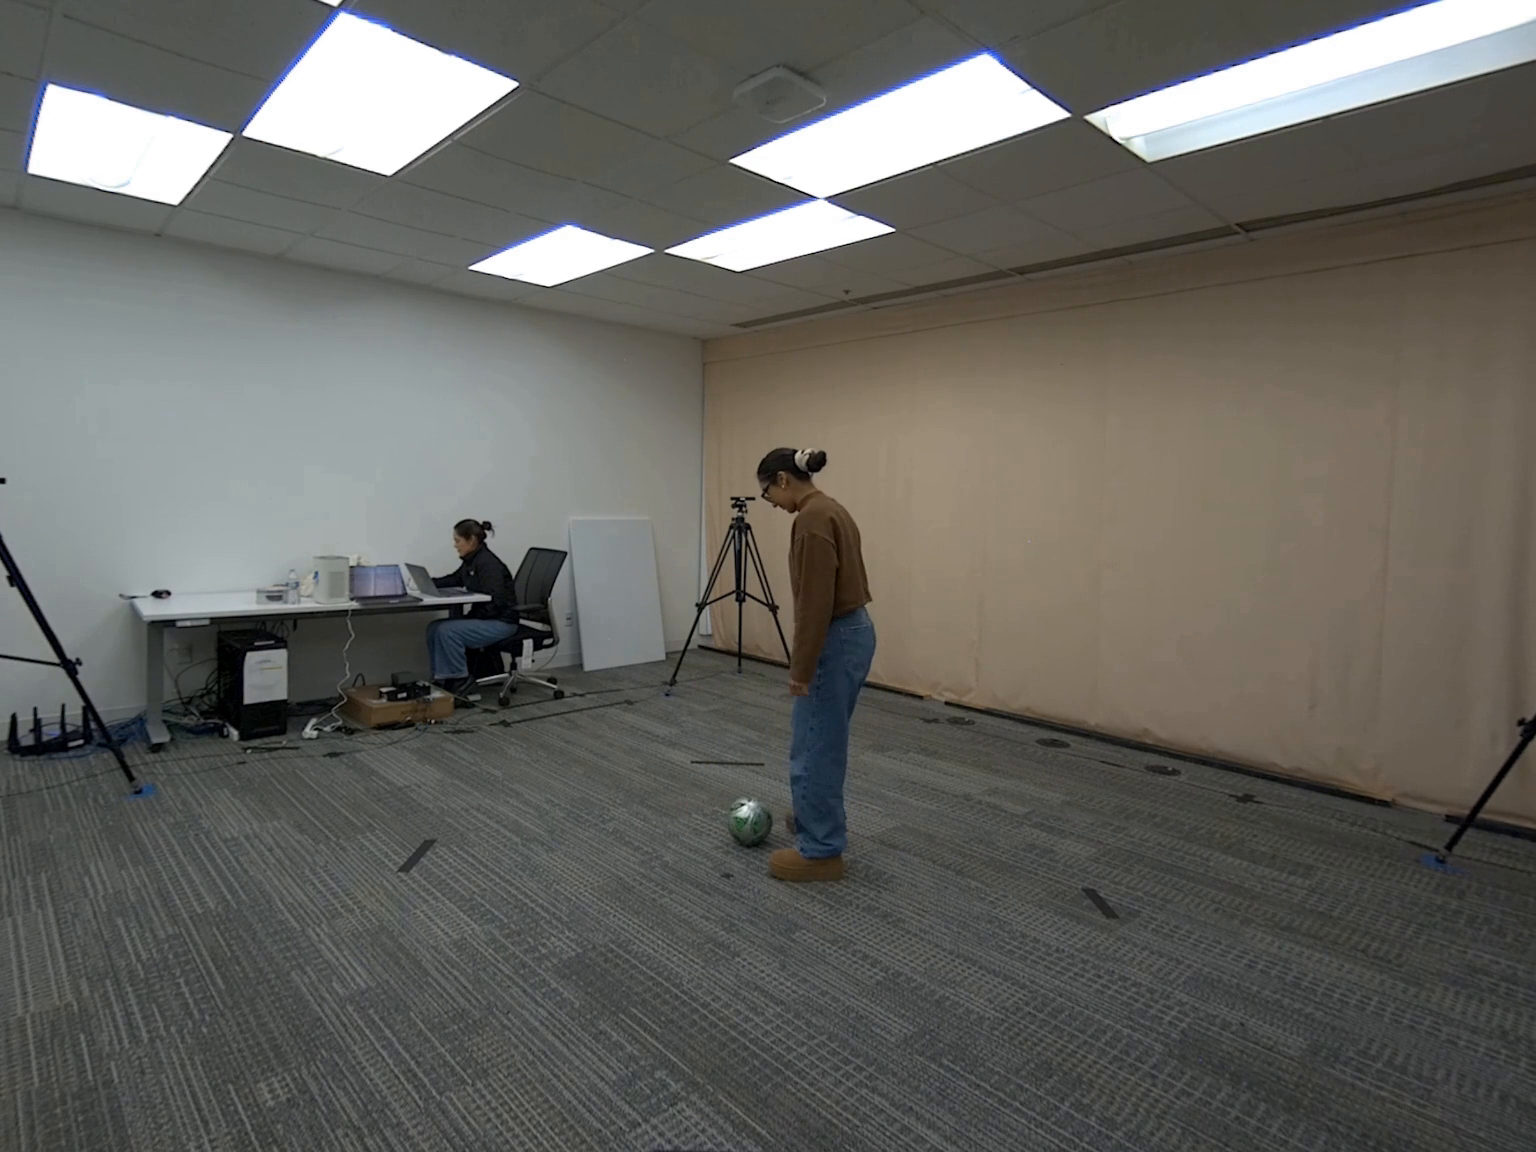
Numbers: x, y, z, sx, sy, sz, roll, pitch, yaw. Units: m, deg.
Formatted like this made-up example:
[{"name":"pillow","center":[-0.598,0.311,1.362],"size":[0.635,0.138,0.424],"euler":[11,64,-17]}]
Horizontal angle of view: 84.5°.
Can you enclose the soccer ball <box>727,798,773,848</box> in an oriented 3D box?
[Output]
[{"name":"soccer ball","center":[-0.082,0.983,3.399],"size":[0.187,0.187,0.188],"euler":[1,4,-1]}]
